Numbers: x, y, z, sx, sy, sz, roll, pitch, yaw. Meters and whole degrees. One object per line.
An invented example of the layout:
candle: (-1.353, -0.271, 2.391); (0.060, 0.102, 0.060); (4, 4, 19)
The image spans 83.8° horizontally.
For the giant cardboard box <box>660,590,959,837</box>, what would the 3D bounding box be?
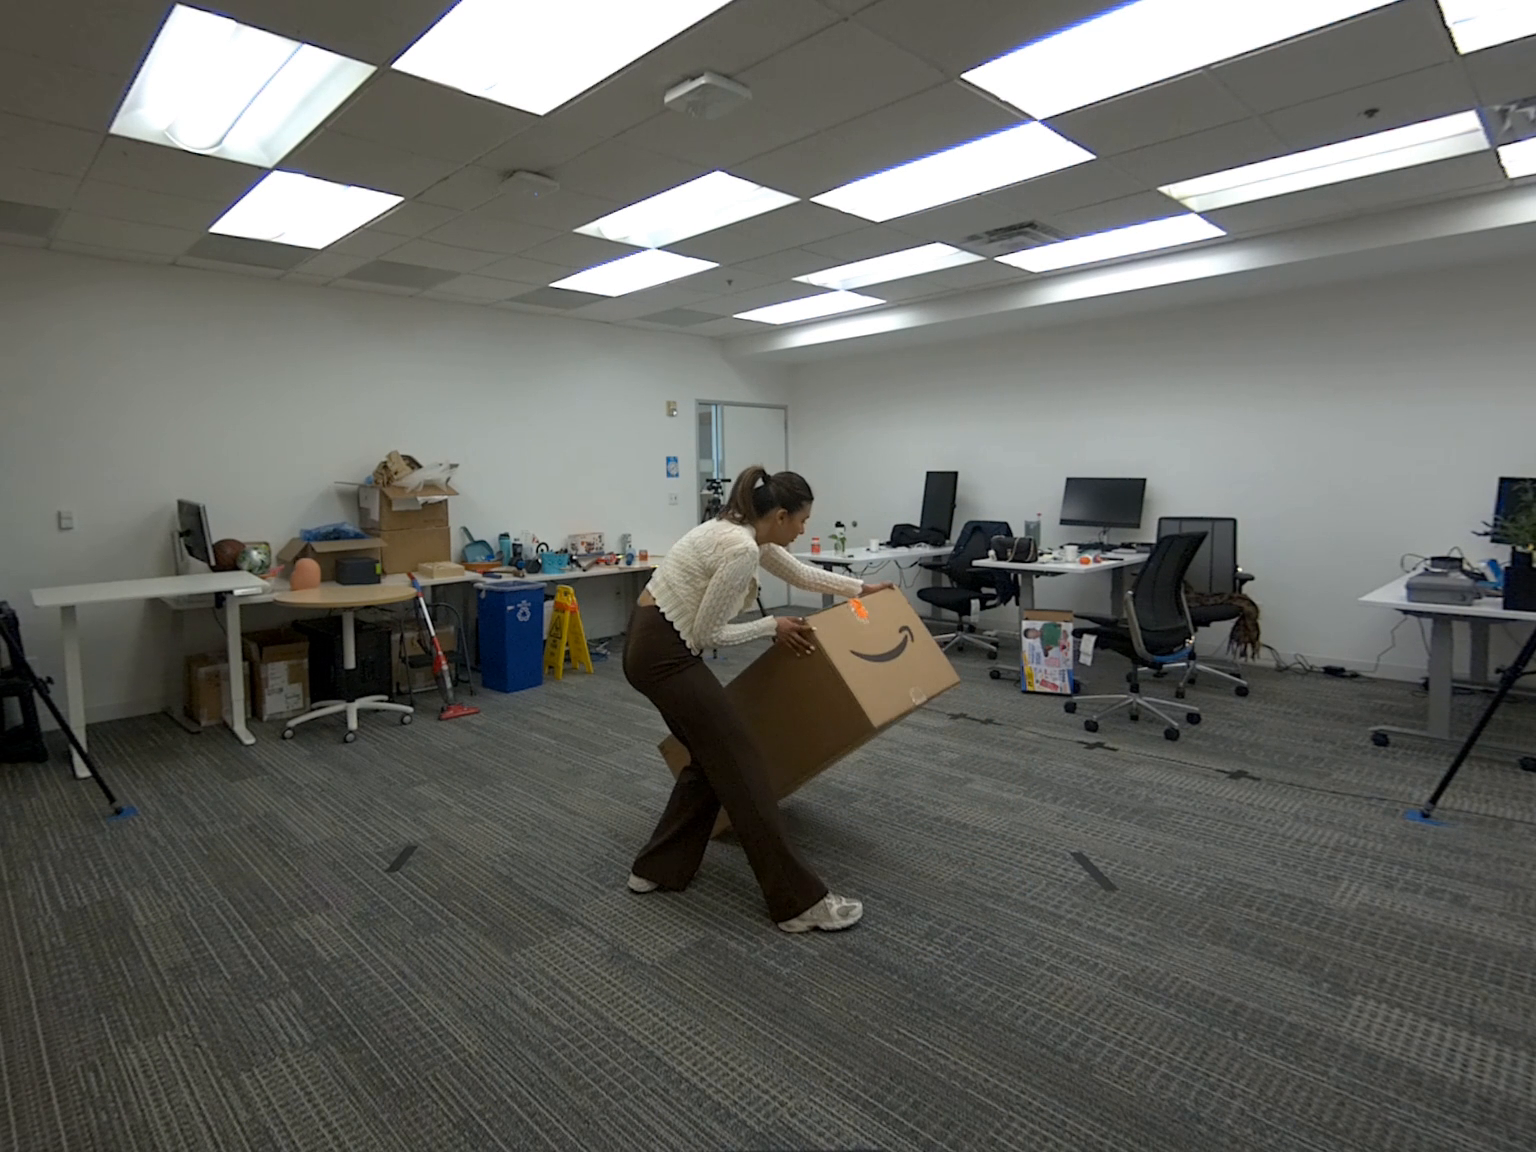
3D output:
giant cardboard box: (0.123, 0.532, 3.272); (0.565, 0.436, 1.026); (-14, -24, -47)
